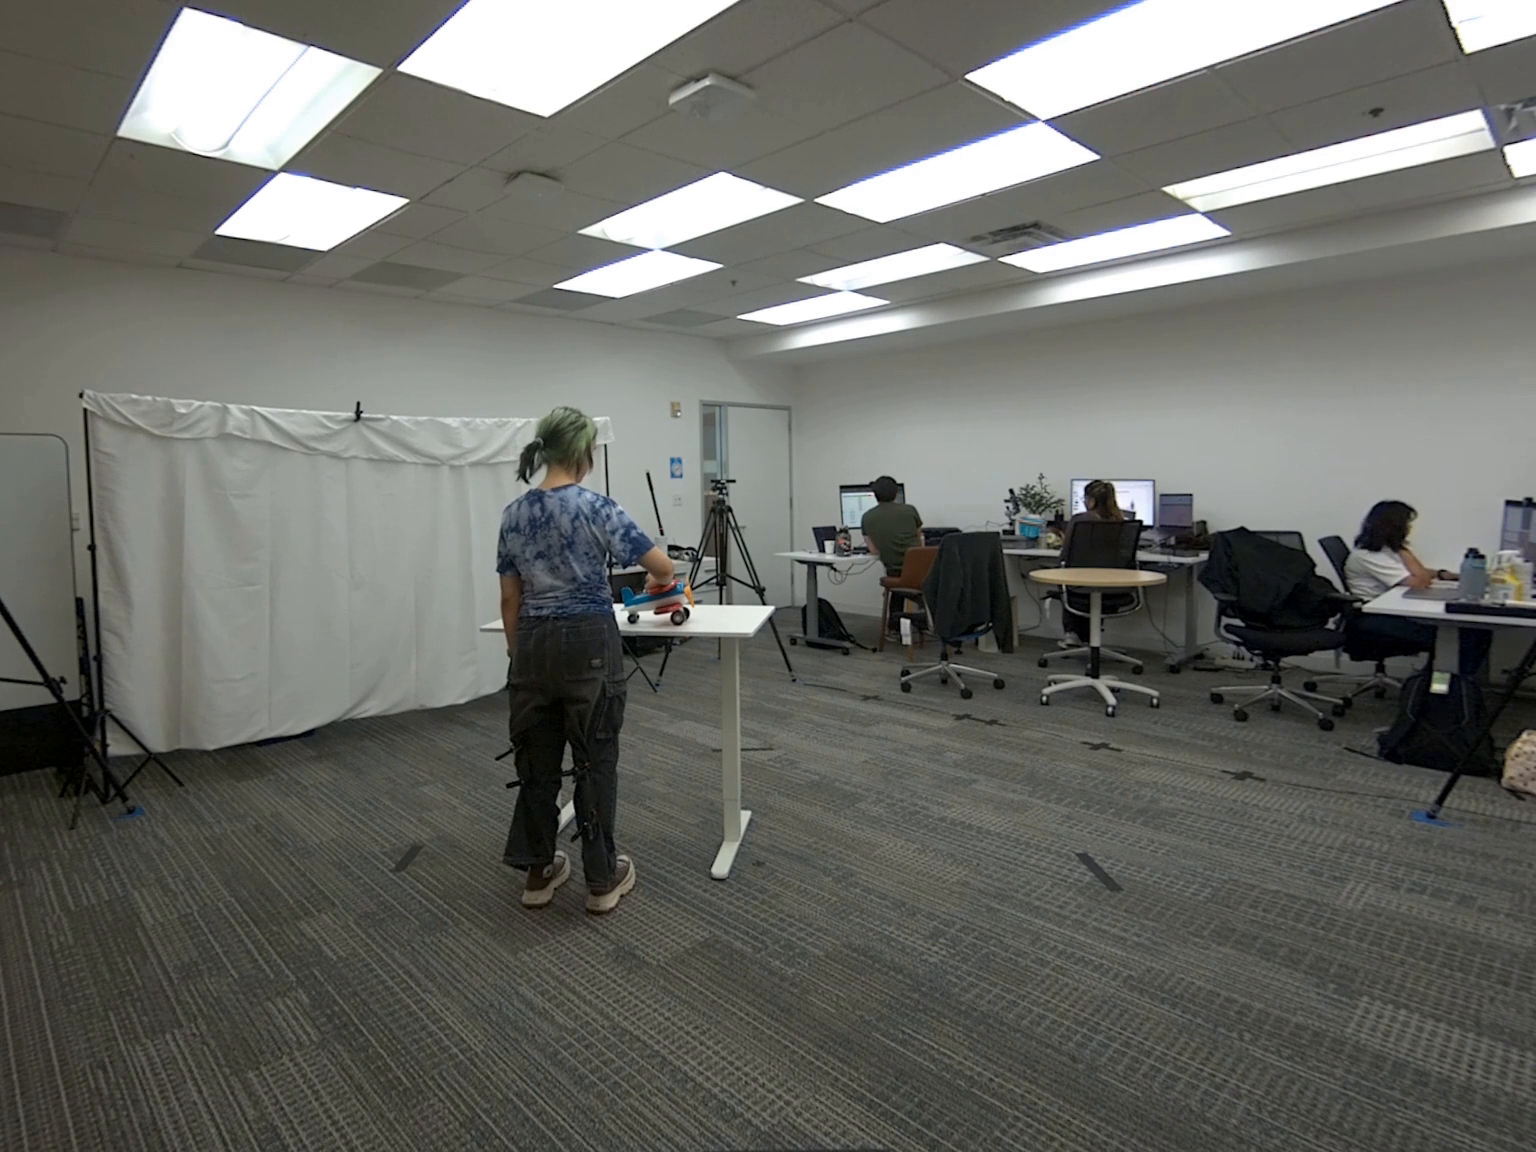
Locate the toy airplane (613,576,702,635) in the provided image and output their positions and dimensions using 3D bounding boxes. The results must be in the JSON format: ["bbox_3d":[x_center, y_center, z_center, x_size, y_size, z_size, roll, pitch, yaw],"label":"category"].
[{"bbox_3d":[-0.405,0.100,3.096,0.254,0.155,0.257,-3,7,-22],"label":"toy airplane"}]
